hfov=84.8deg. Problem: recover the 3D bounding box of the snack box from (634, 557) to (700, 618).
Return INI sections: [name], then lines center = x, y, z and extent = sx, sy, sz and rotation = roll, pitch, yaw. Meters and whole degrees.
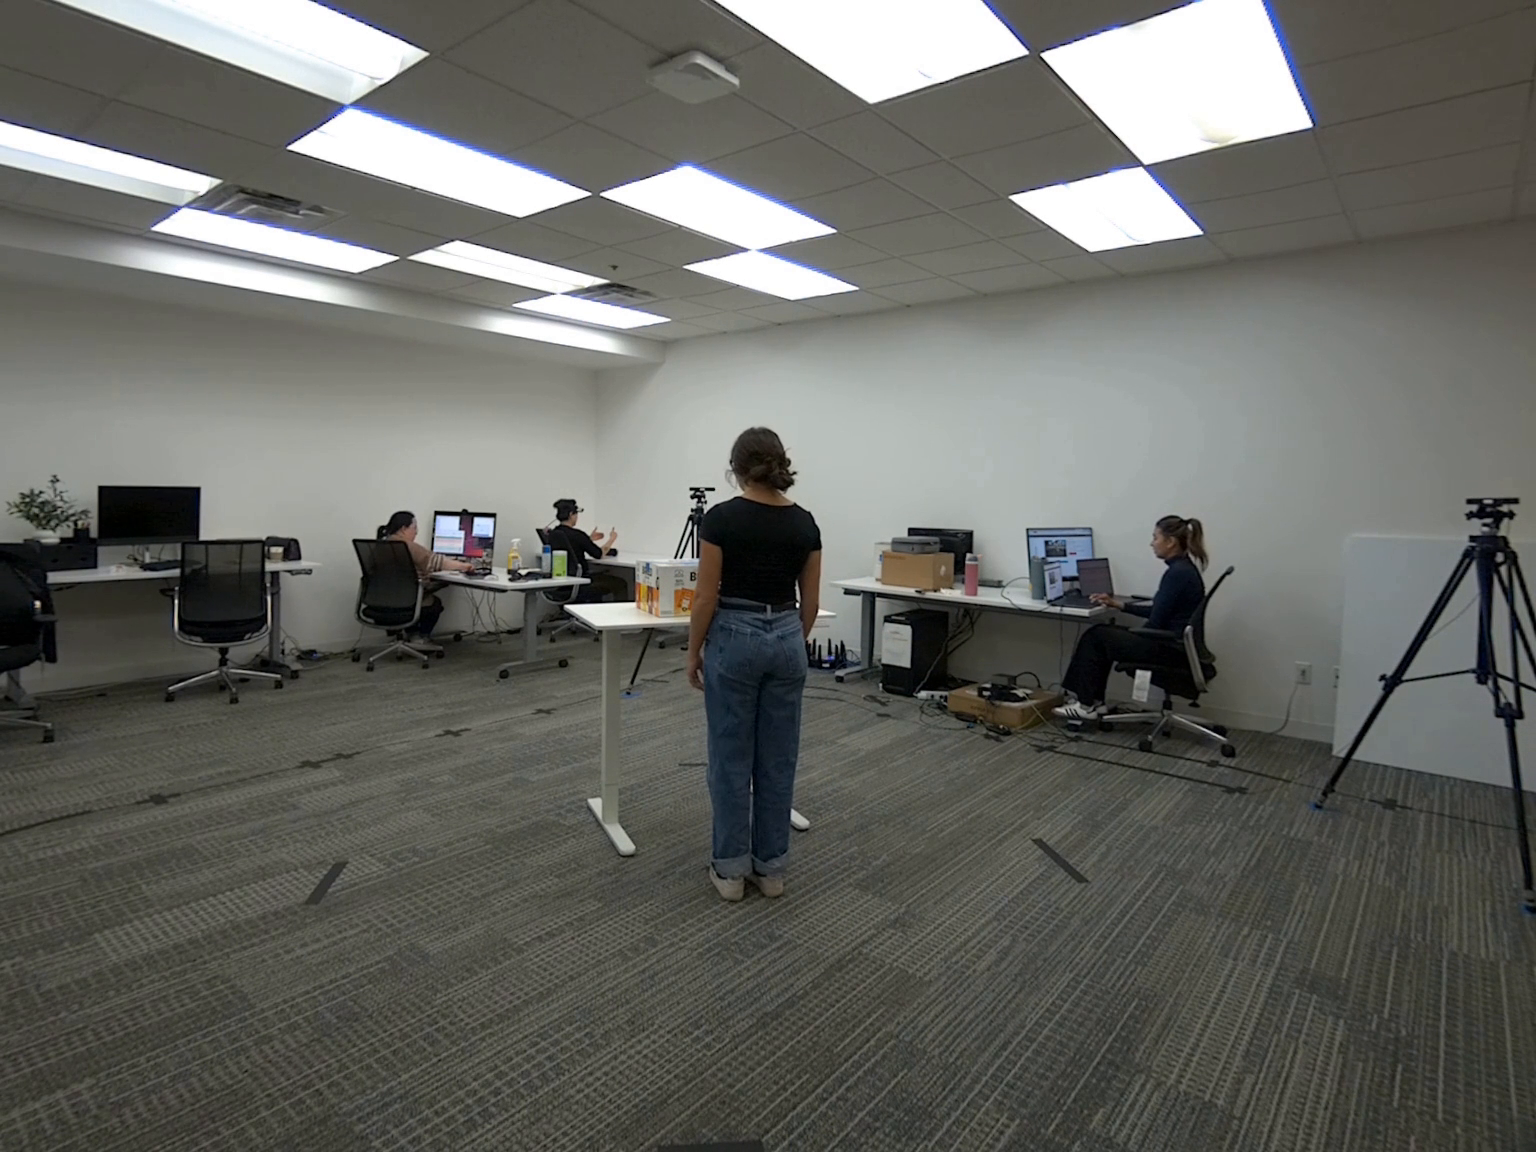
[snack box]
center = -0.320, 0.038, 3.542
extent = 0.396, 0.205, 0.349
rotation = -2, 5, -23
